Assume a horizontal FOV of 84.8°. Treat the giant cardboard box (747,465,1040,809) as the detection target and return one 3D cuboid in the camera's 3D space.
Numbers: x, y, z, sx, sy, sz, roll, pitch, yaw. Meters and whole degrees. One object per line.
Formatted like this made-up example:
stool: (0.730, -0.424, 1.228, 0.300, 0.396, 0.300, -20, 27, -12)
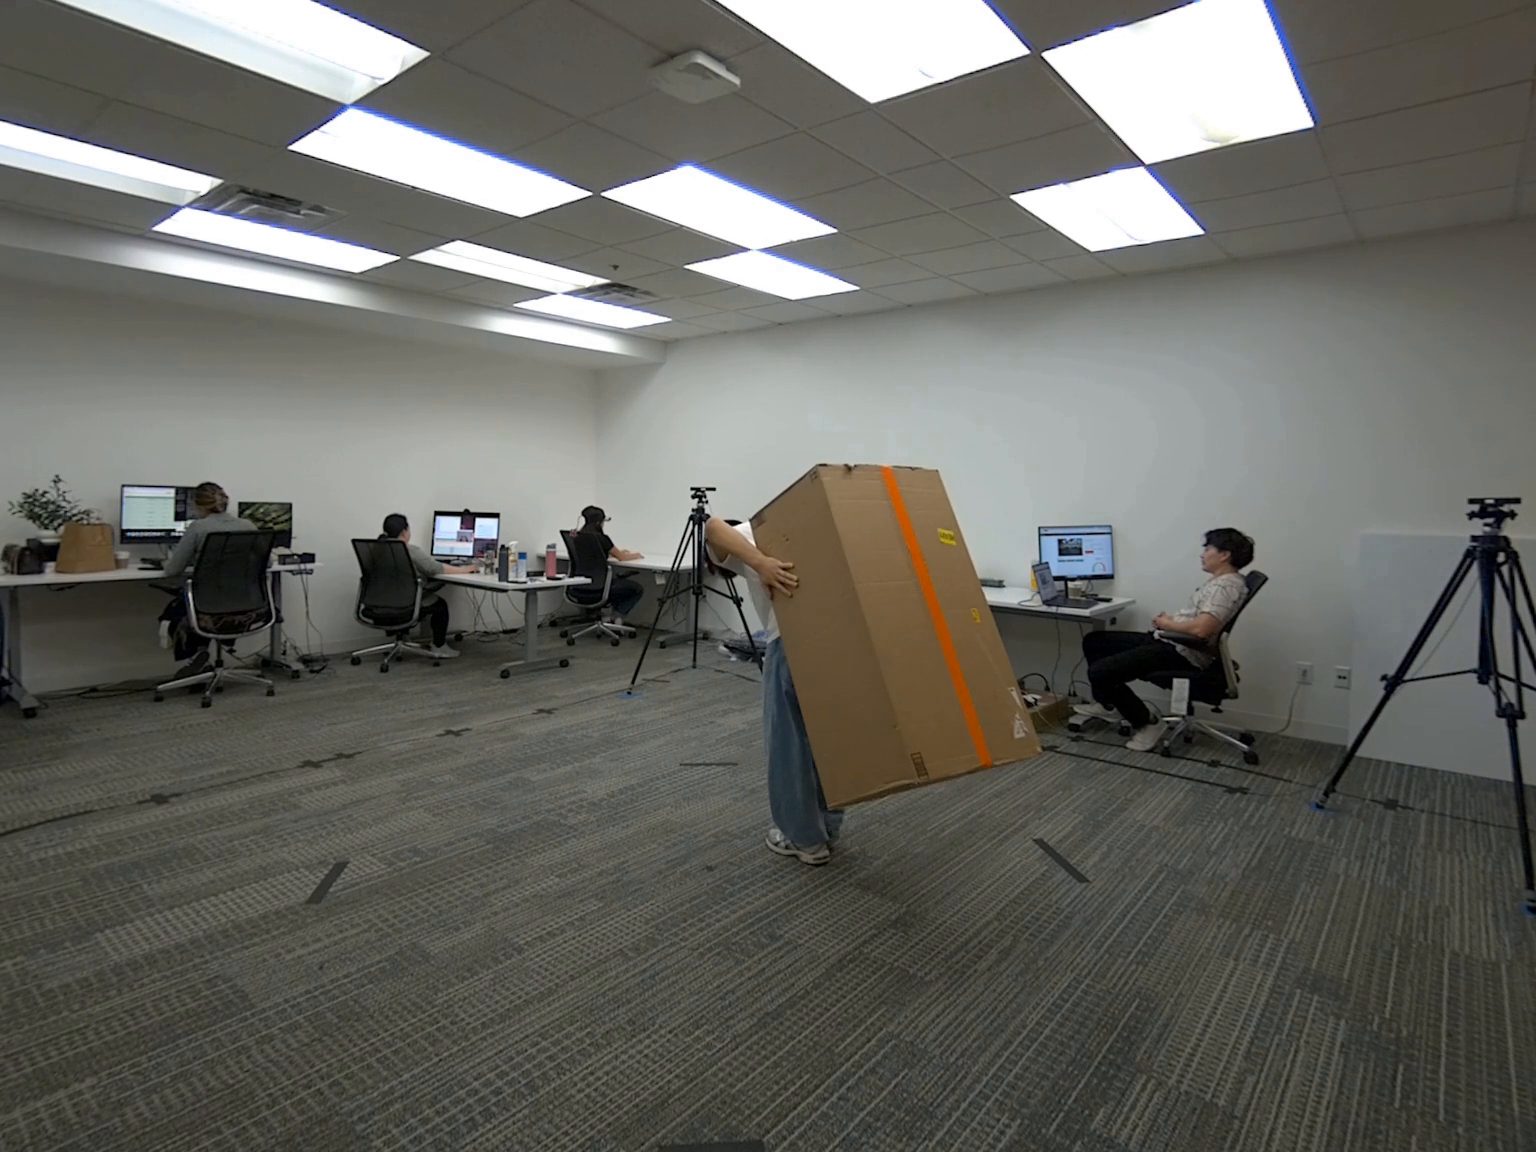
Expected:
giant cardboard box: (0.396, 0.180, 2.862, 0.560, 1.049, 0.429, -1, -24, -36)
